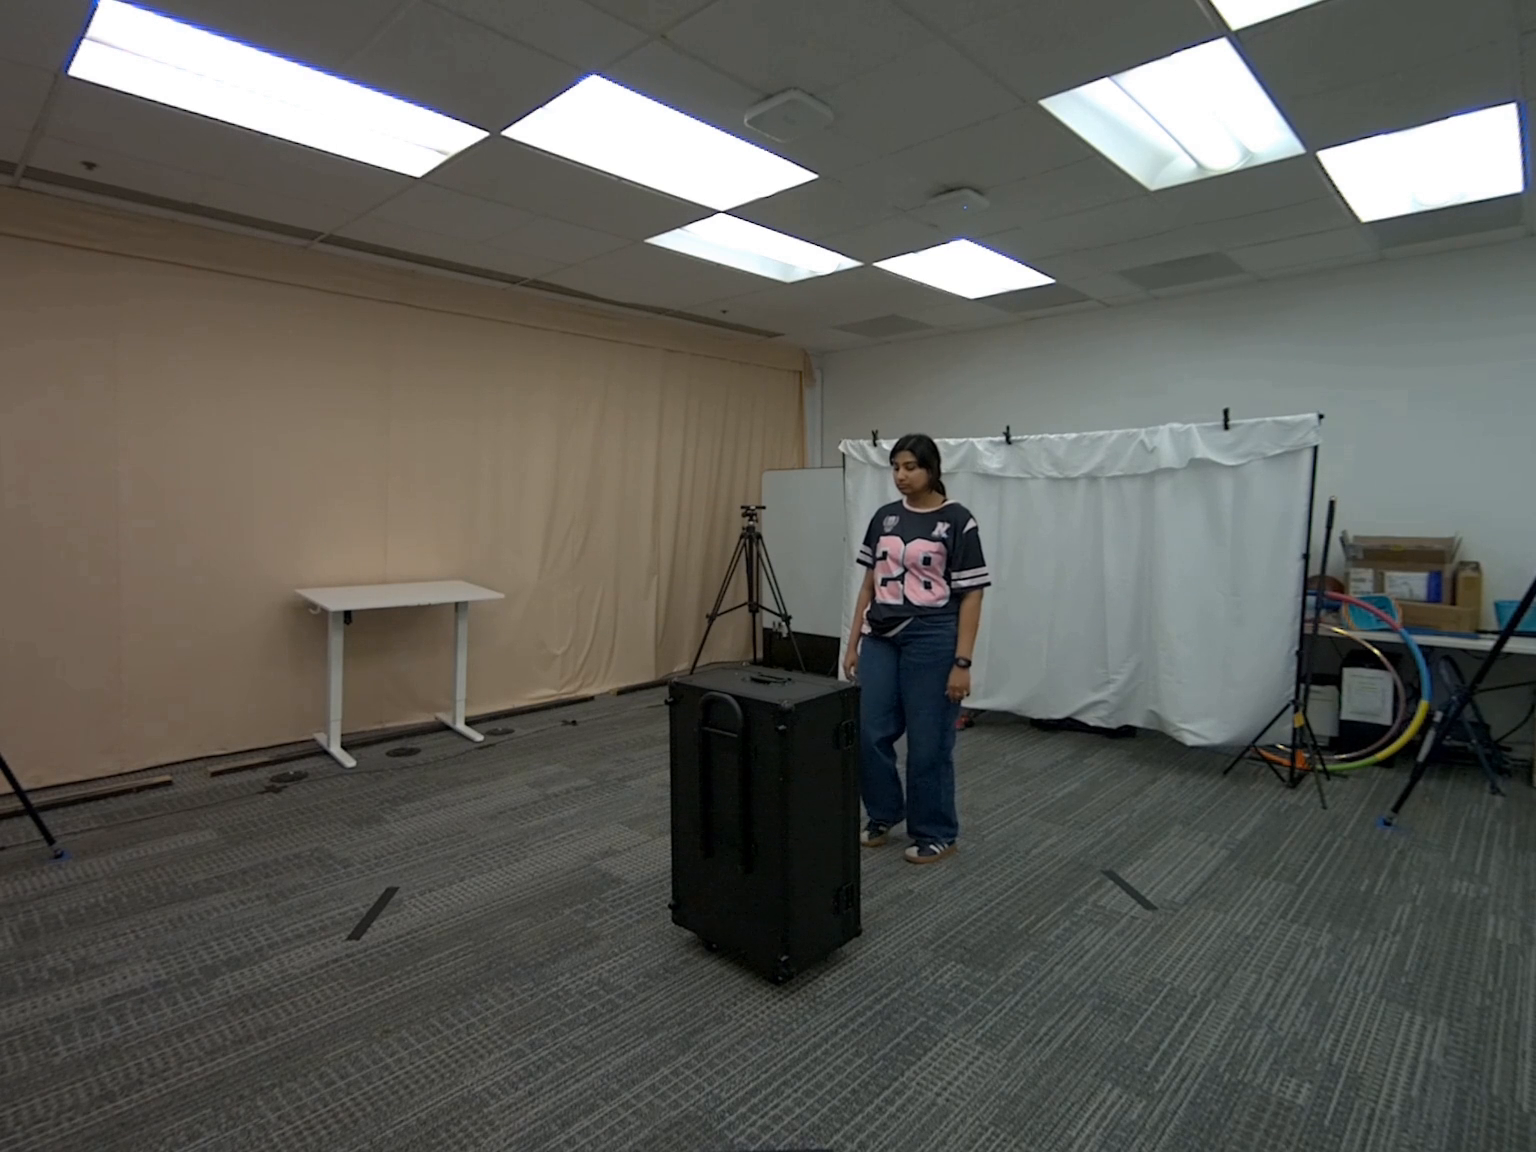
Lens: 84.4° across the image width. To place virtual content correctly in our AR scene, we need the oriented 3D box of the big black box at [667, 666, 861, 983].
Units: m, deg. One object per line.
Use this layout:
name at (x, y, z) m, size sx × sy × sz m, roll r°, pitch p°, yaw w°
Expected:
big black box at (-0.005, 0.755, 2.601) m, size 0.541 × 0.866 × 0.373 m, roll 3°, pitch 5°, yaw 42°
